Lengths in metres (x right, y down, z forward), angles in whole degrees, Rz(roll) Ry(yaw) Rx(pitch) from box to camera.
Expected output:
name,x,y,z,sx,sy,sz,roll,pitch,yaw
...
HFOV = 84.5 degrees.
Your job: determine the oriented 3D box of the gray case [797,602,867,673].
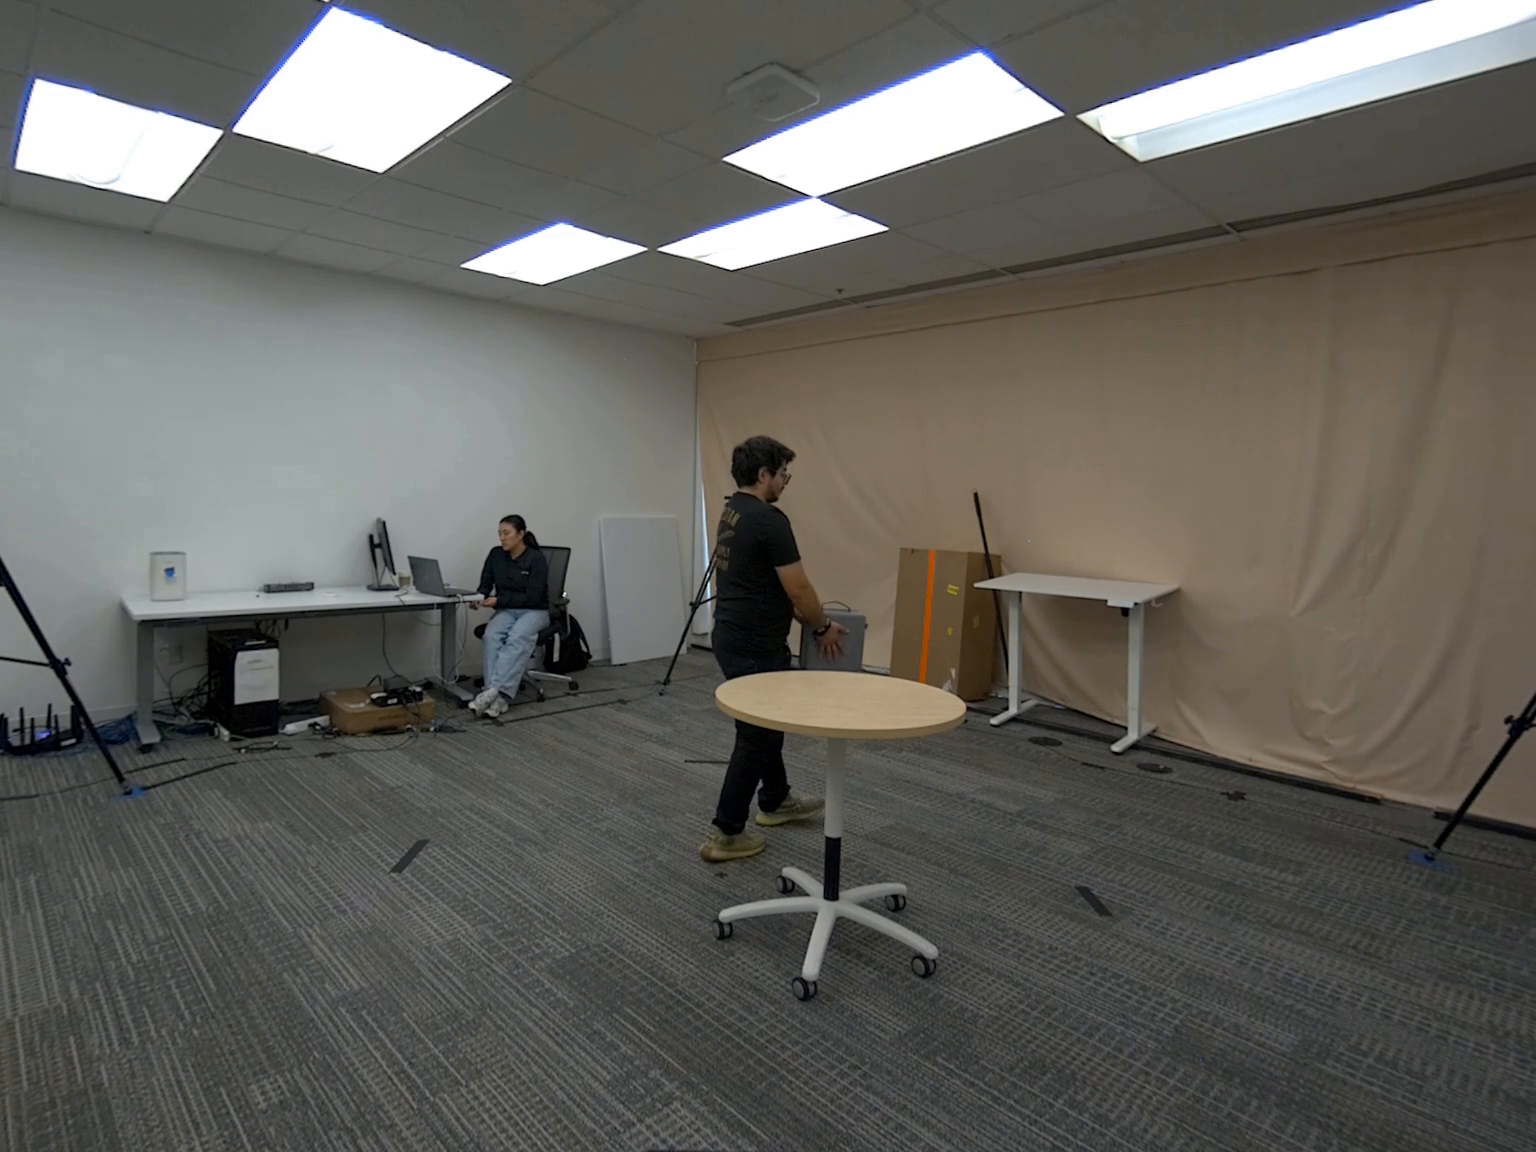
name,x,y,z,sx,sy,sz,roll,pitch,yaw
gray case,0.255,0.260,3.421,0.254,0.259,0.106,3,6,-12
